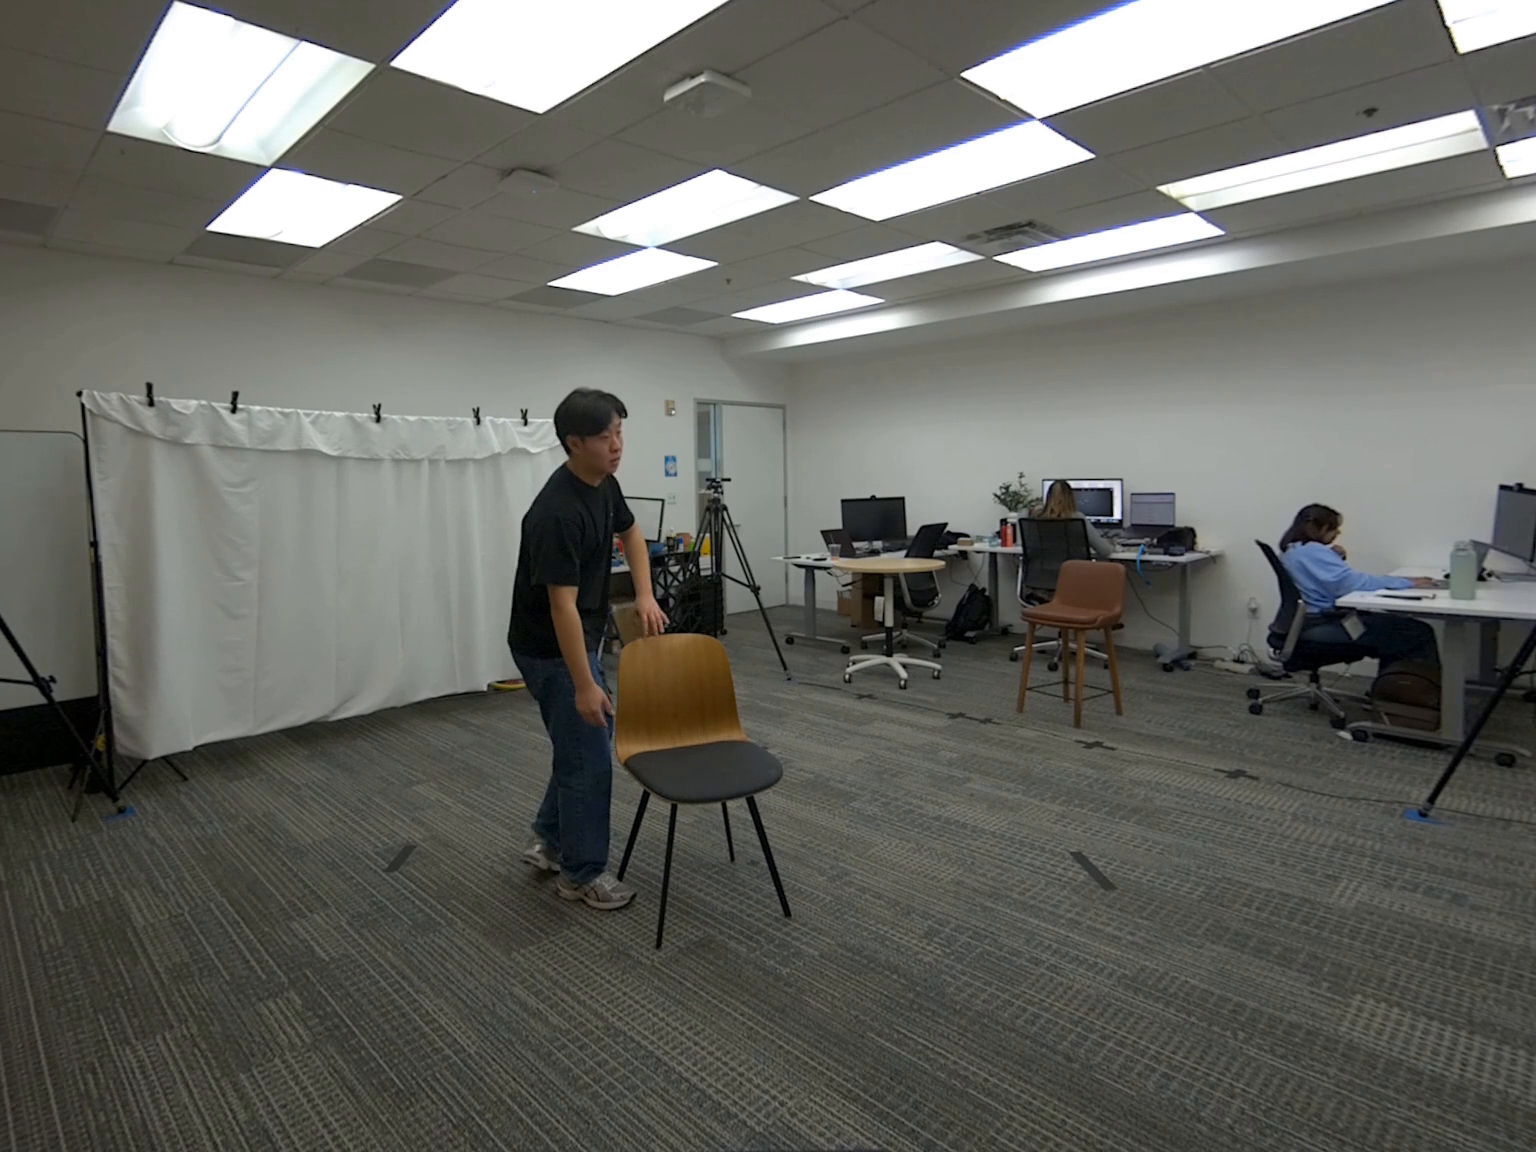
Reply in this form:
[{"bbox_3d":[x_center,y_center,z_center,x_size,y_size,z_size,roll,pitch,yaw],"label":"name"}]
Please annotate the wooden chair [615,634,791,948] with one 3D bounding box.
[{"bbox_3d":[-0.222,0.653,2.797,0.468,0.877,0.534,-3,1,-25],"label":"wooden chair"}]
